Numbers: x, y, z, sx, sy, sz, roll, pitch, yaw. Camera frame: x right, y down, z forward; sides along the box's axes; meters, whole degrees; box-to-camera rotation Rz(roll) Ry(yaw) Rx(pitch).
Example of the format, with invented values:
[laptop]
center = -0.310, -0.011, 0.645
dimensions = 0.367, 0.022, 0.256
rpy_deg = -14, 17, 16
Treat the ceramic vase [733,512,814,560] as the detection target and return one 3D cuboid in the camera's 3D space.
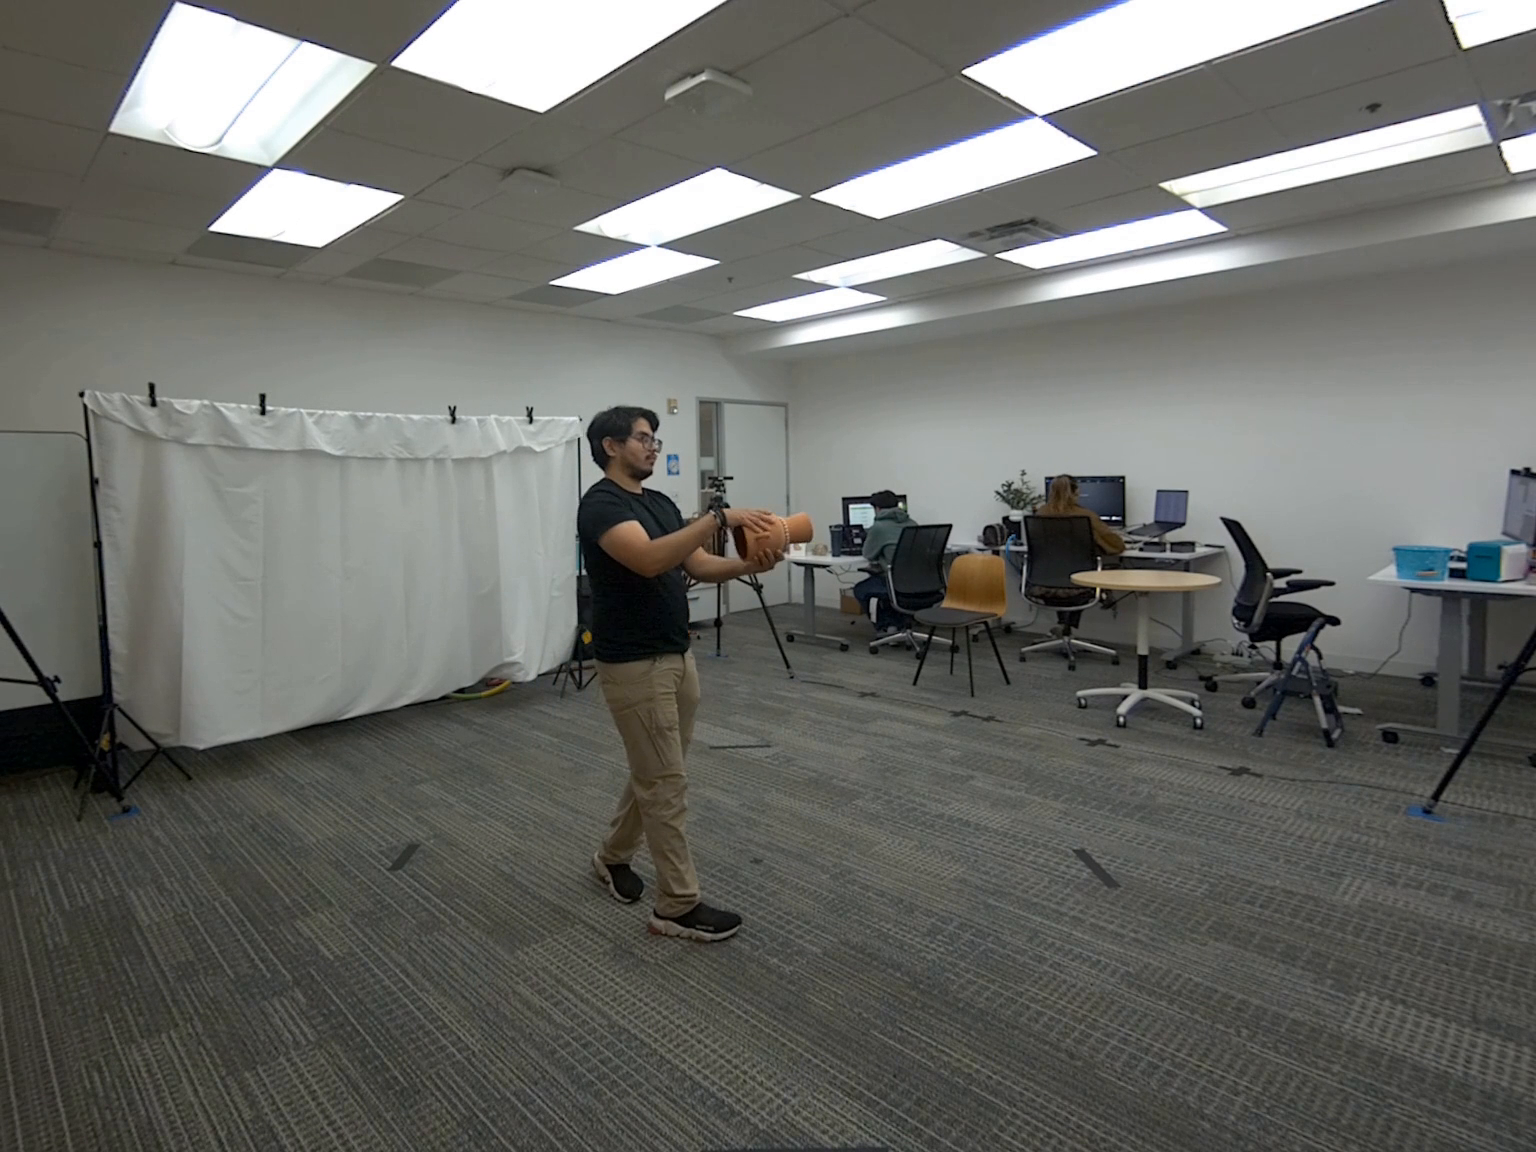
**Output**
[ceramic vase]
center = 0.013, -0.128, 2.597
dimensions = 0.217, 0.131, 0.165
rpy_deg = -11, 41, -16
